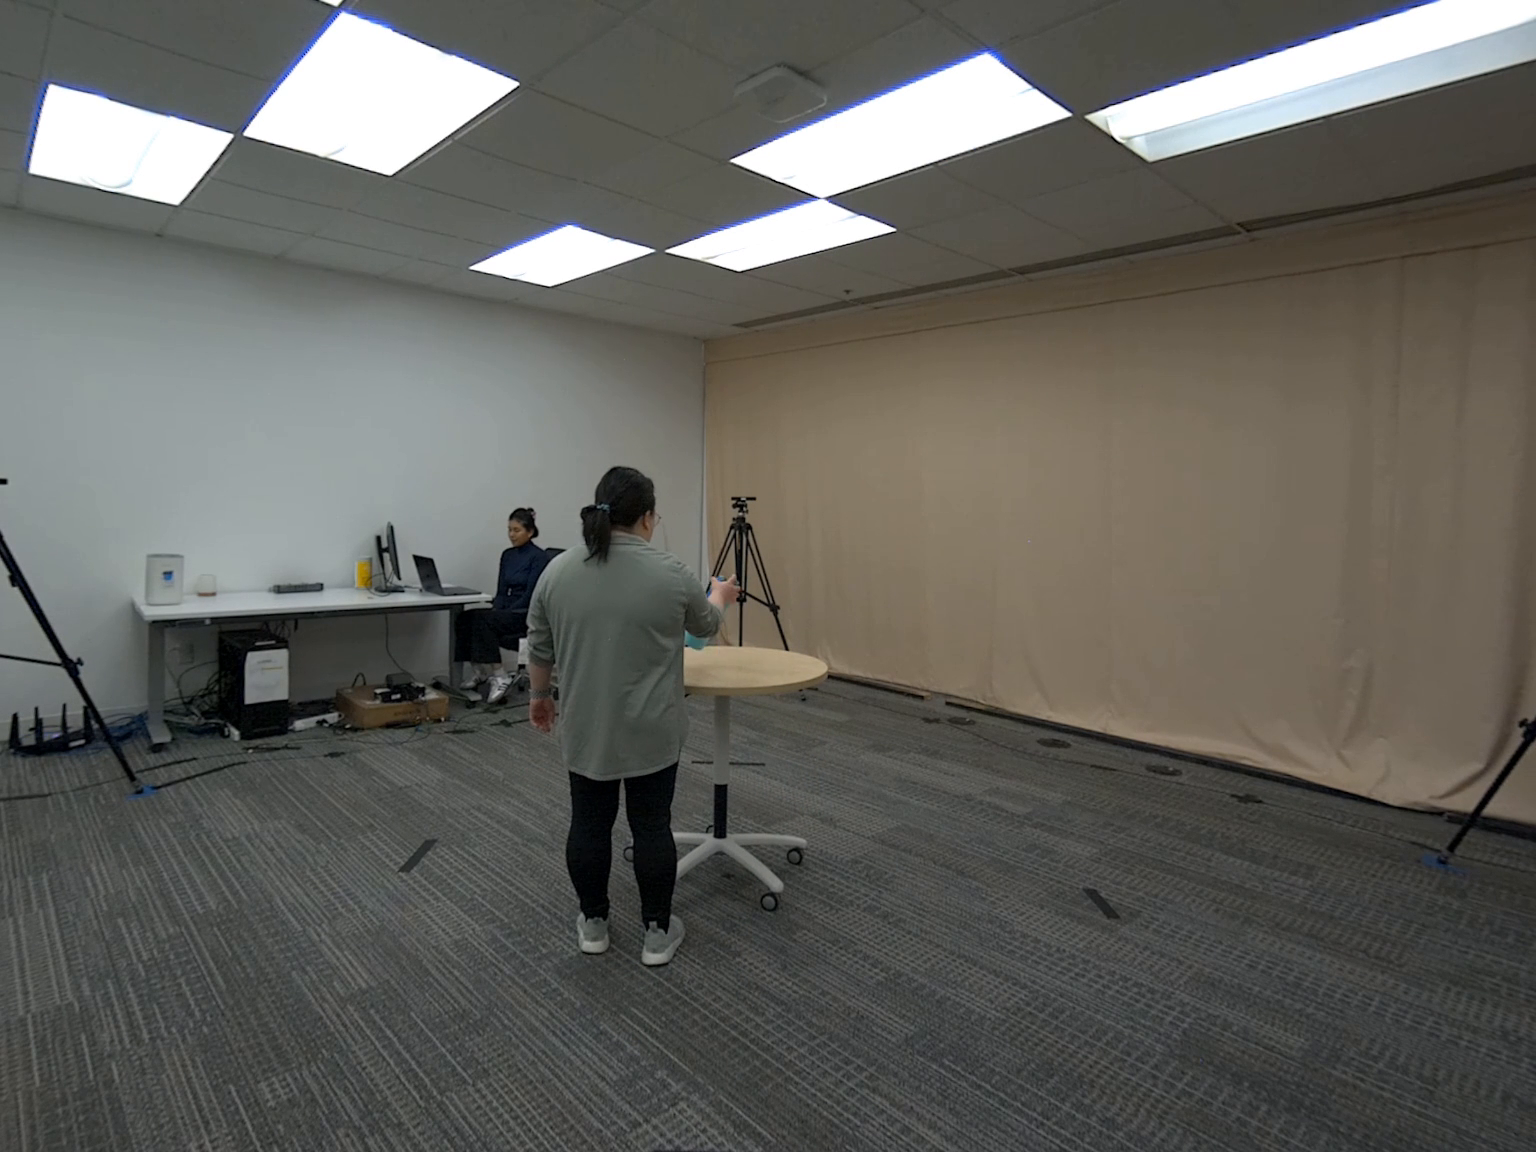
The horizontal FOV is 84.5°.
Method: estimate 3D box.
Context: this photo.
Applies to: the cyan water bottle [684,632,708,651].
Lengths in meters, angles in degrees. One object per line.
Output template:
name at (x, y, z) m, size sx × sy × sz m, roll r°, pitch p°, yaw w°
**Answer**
cyan water bottle at (-0.209, 0.130, 2.998) m, size 0.092 × 0.282 × 0.093 m, roll 24°, pitch 11°, yaw -6°
